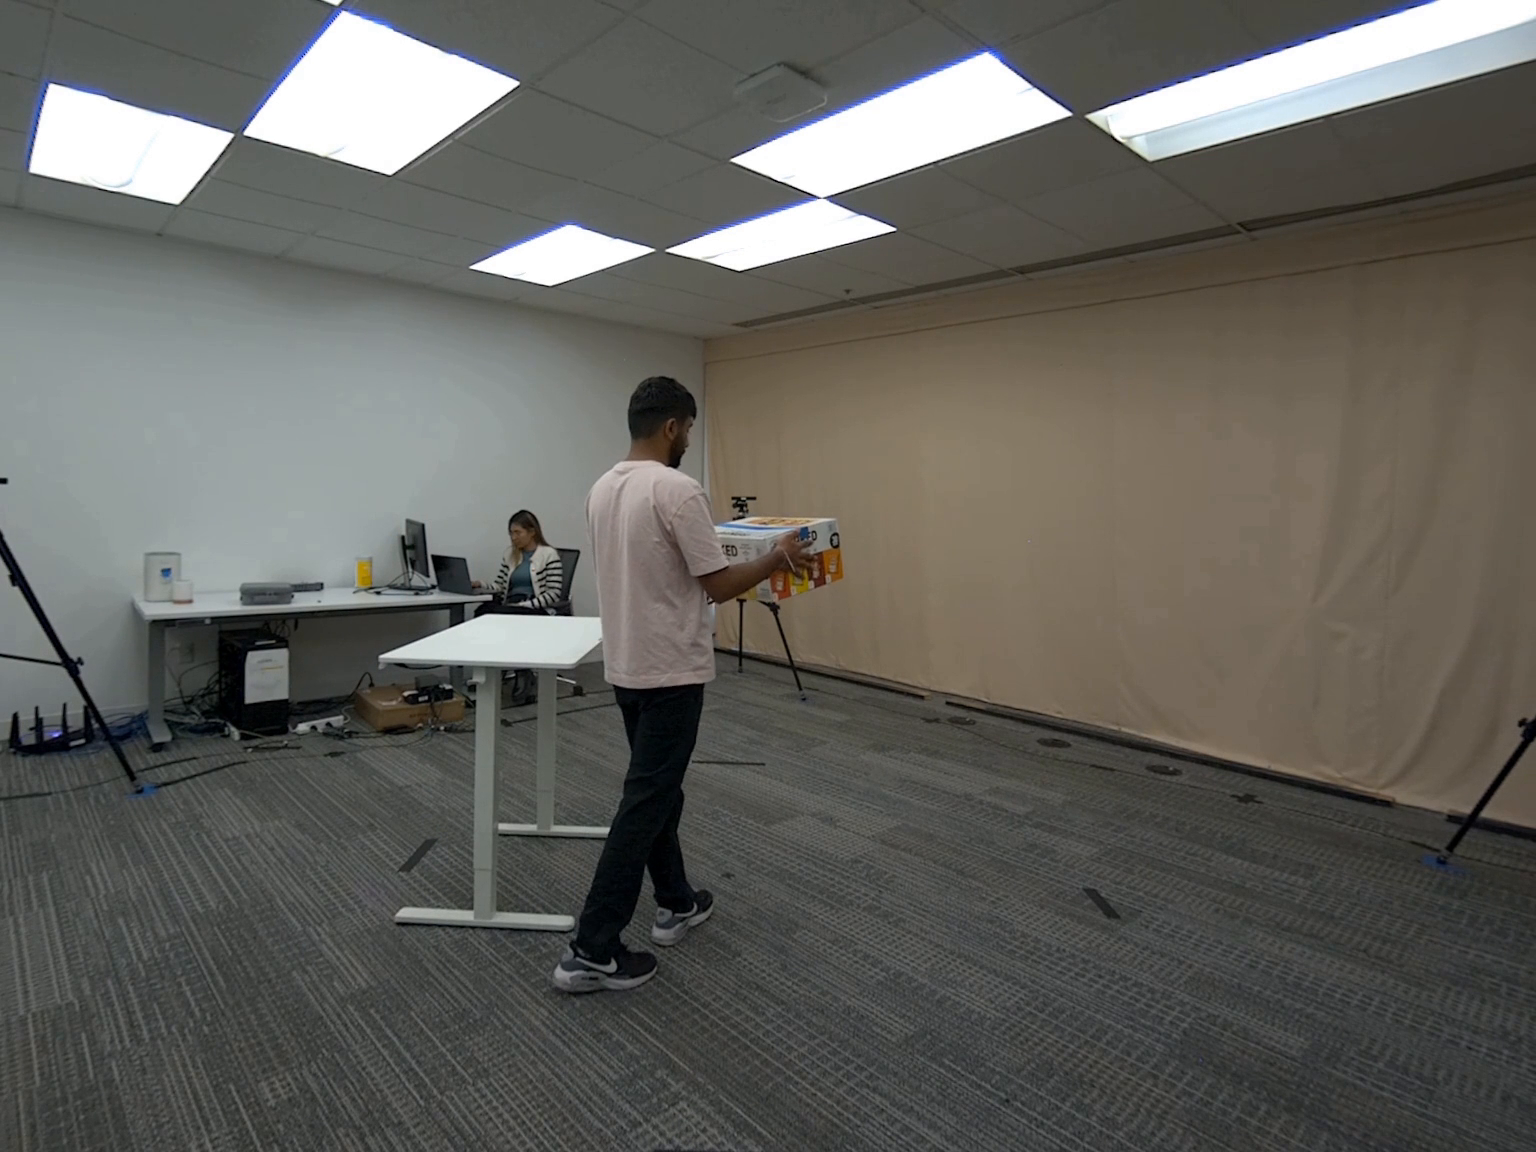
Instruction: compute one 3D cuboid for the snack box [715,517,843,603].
[{"bbox_3d":[-0.028,-0.066,2.804,0.334,0.204,0.415,-17,15,-43],"label":"snack box"}]
